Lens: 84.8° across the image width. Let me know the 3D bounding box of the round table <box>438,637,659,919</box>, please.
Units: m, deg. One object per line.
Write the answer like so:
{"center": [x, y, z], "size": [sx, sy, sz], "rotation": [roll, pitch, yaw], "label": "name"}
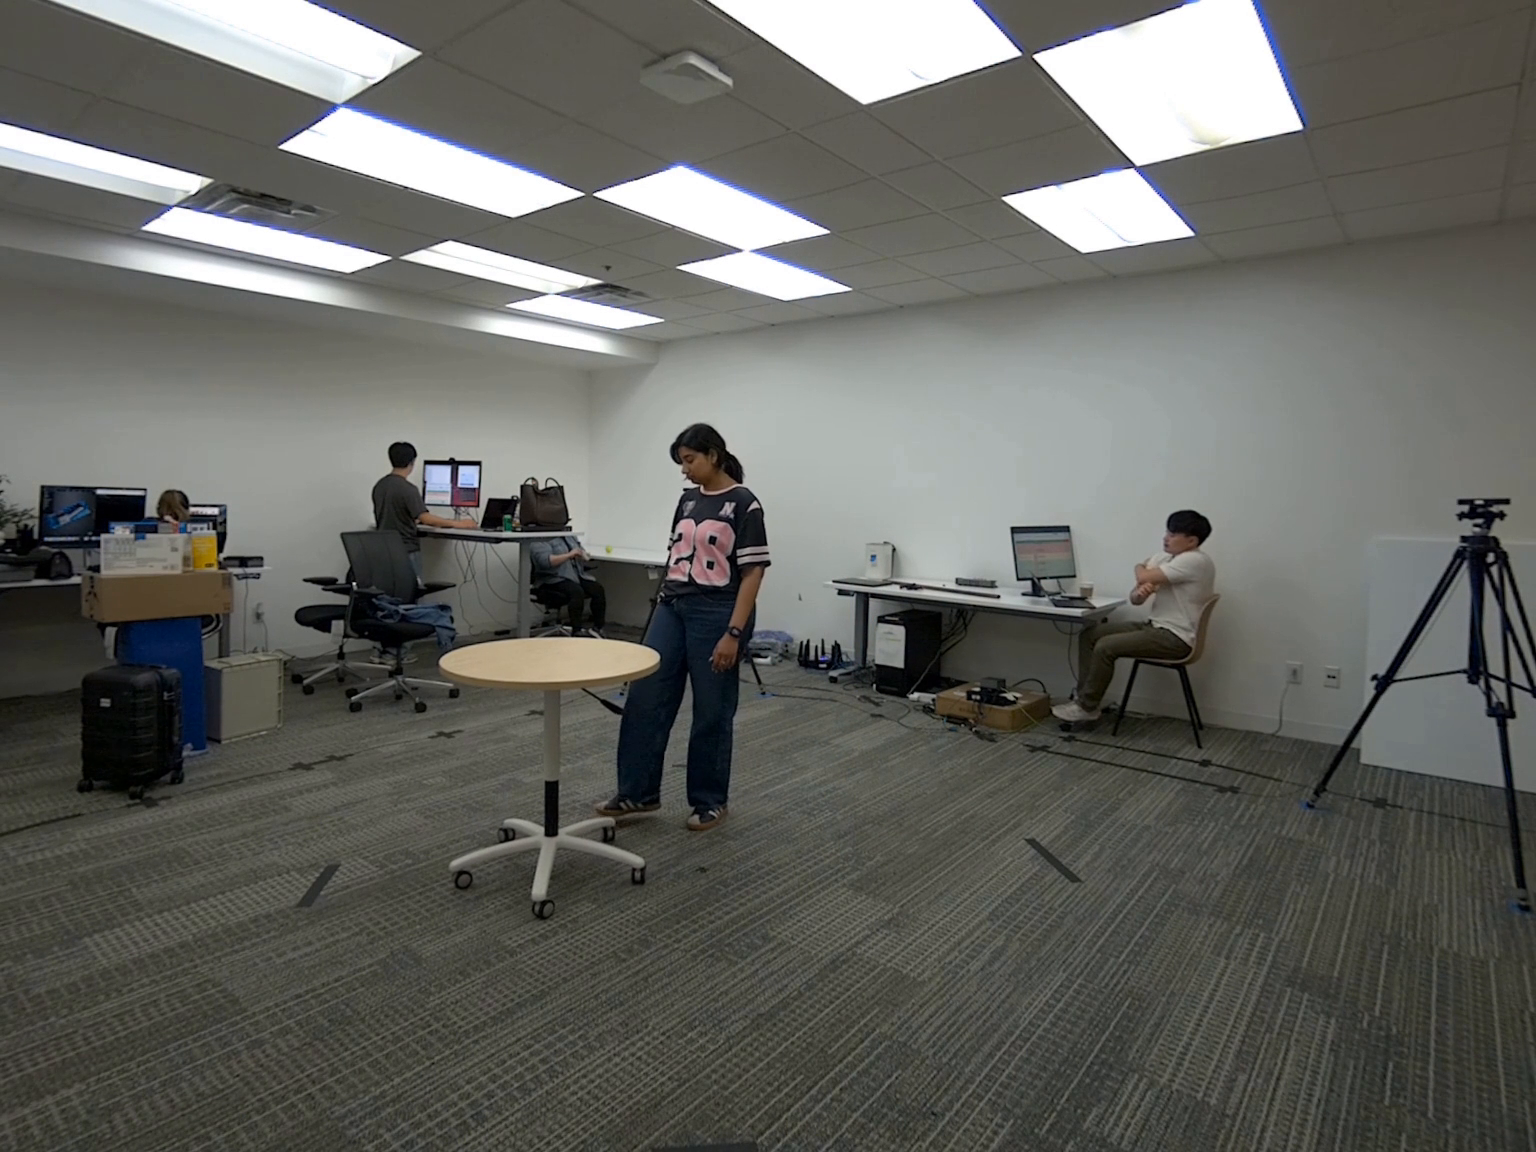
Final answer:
{"center": [-0.785, 0.679, 3.043], "size": [0.763, 0.791, 0.768], "rotation": [0, 4, -2], "label": "round table"}
